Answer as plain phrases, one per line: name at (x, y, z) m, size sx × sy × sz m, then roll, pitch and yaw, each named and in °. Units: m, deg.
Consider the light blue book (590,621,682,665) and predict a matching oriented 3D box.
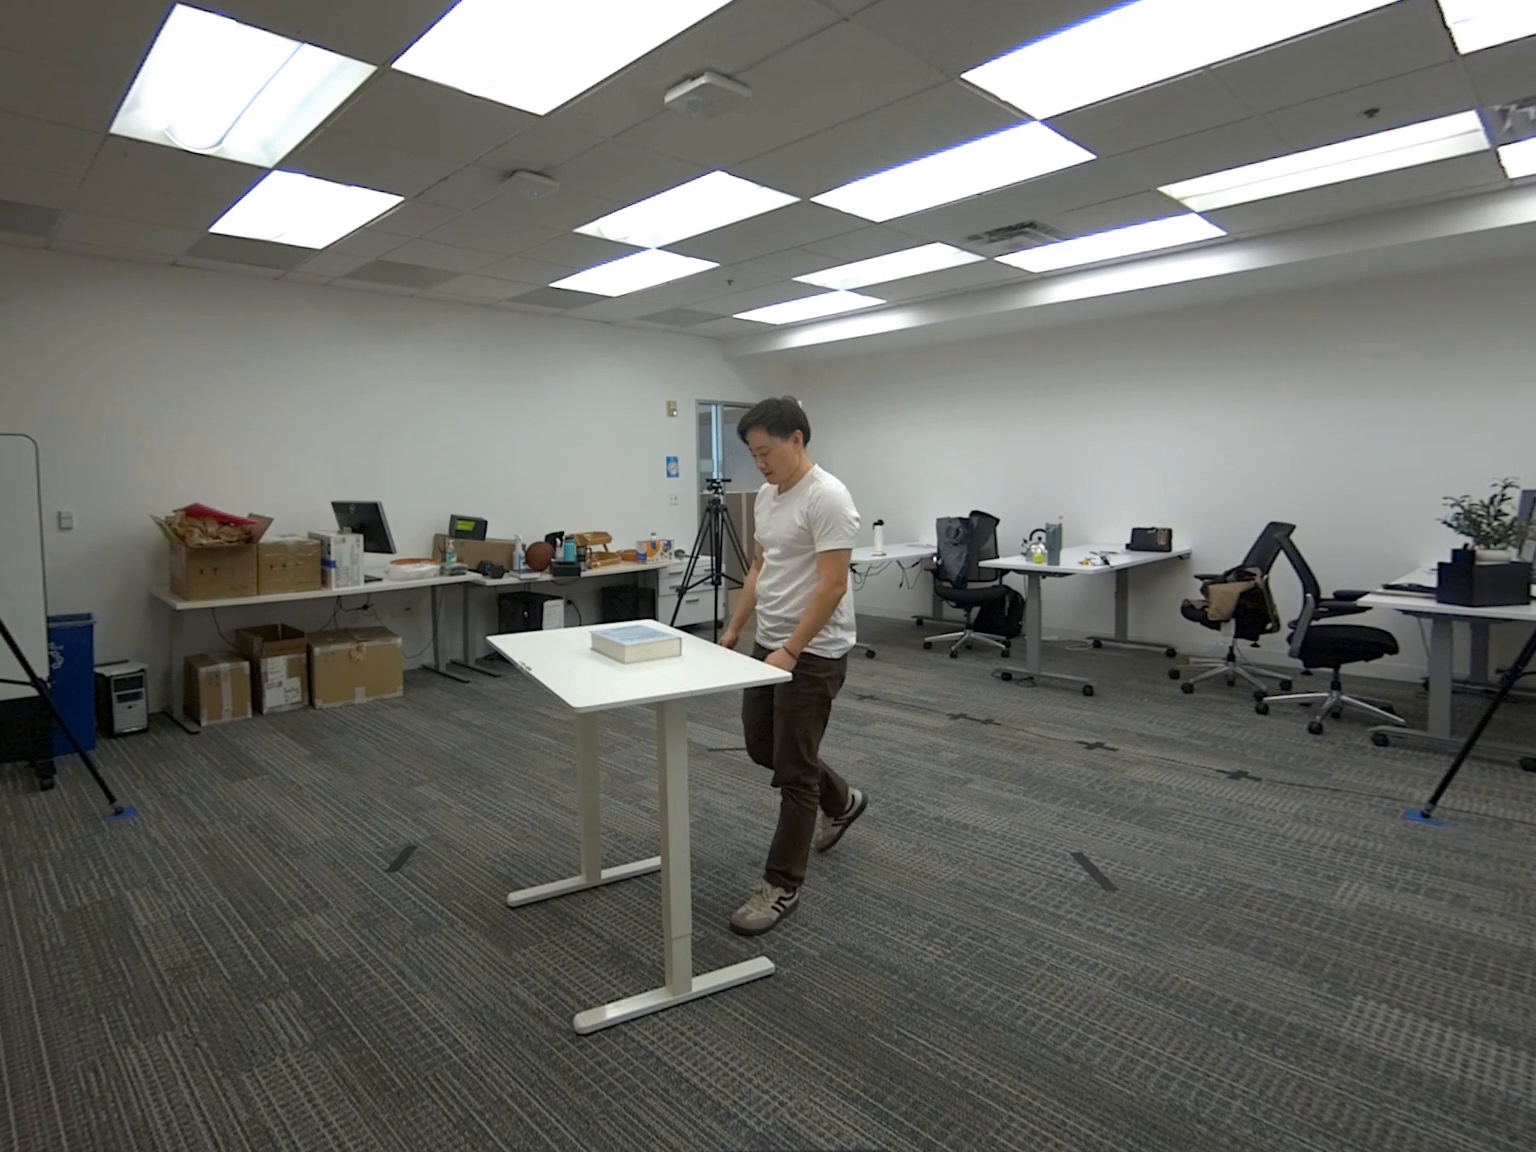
light blue book at (-0.406, 0.206, 2.569) m, size 0.187 × 0.059 × 0.269 m, roll -5°, pitch 8°, yaw -33°
